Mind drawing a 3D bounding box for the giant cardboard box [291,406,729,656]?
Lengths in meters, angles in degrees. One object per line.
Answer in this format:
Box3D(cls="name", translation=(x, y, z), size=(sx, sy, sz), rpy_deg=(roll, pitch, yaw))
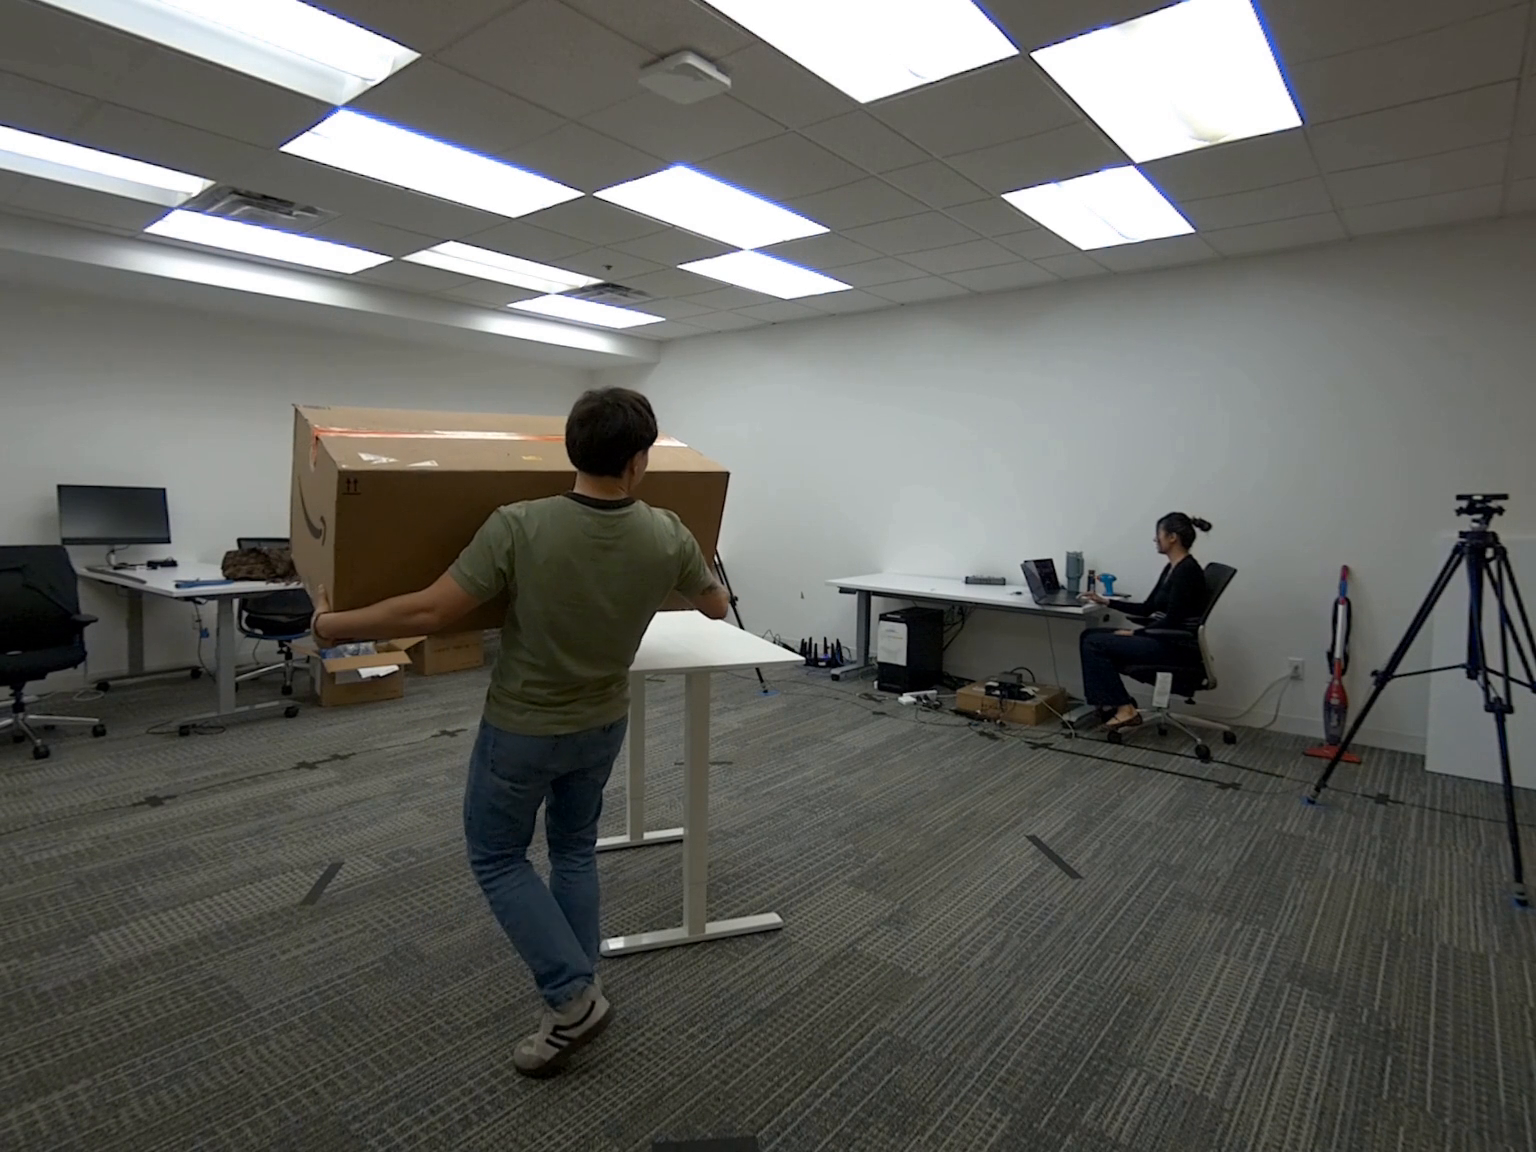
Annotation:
Box3D(cls="giant cardboard box", translation=(-0.718, -0.180, 2.355), size=(0.997, 0.420, 0.602), rpy_deg=(-4, 25, -36))
